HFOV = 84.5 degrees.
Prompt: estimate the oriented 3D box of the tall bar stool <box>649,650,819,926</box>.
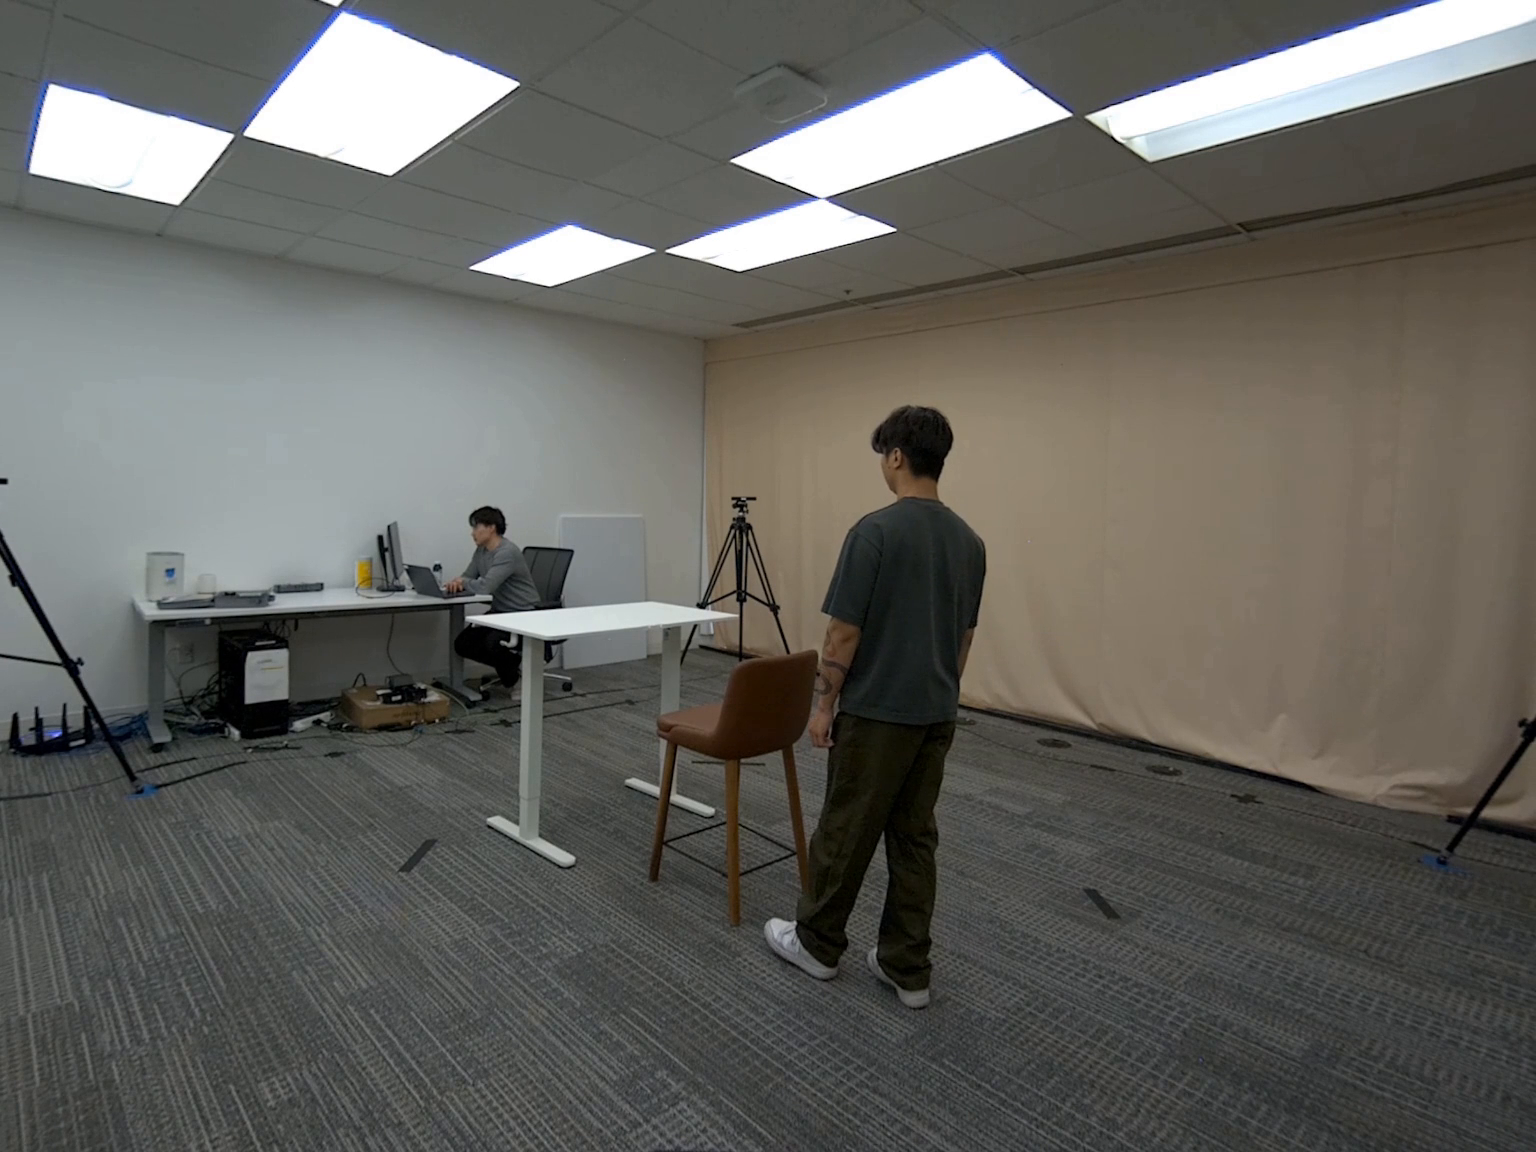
[{"bbox_3d":[-0.121,0.681,2.987,0.446,0.886,0.480,-3,7,-43],"label":"tall bar stool"}]
